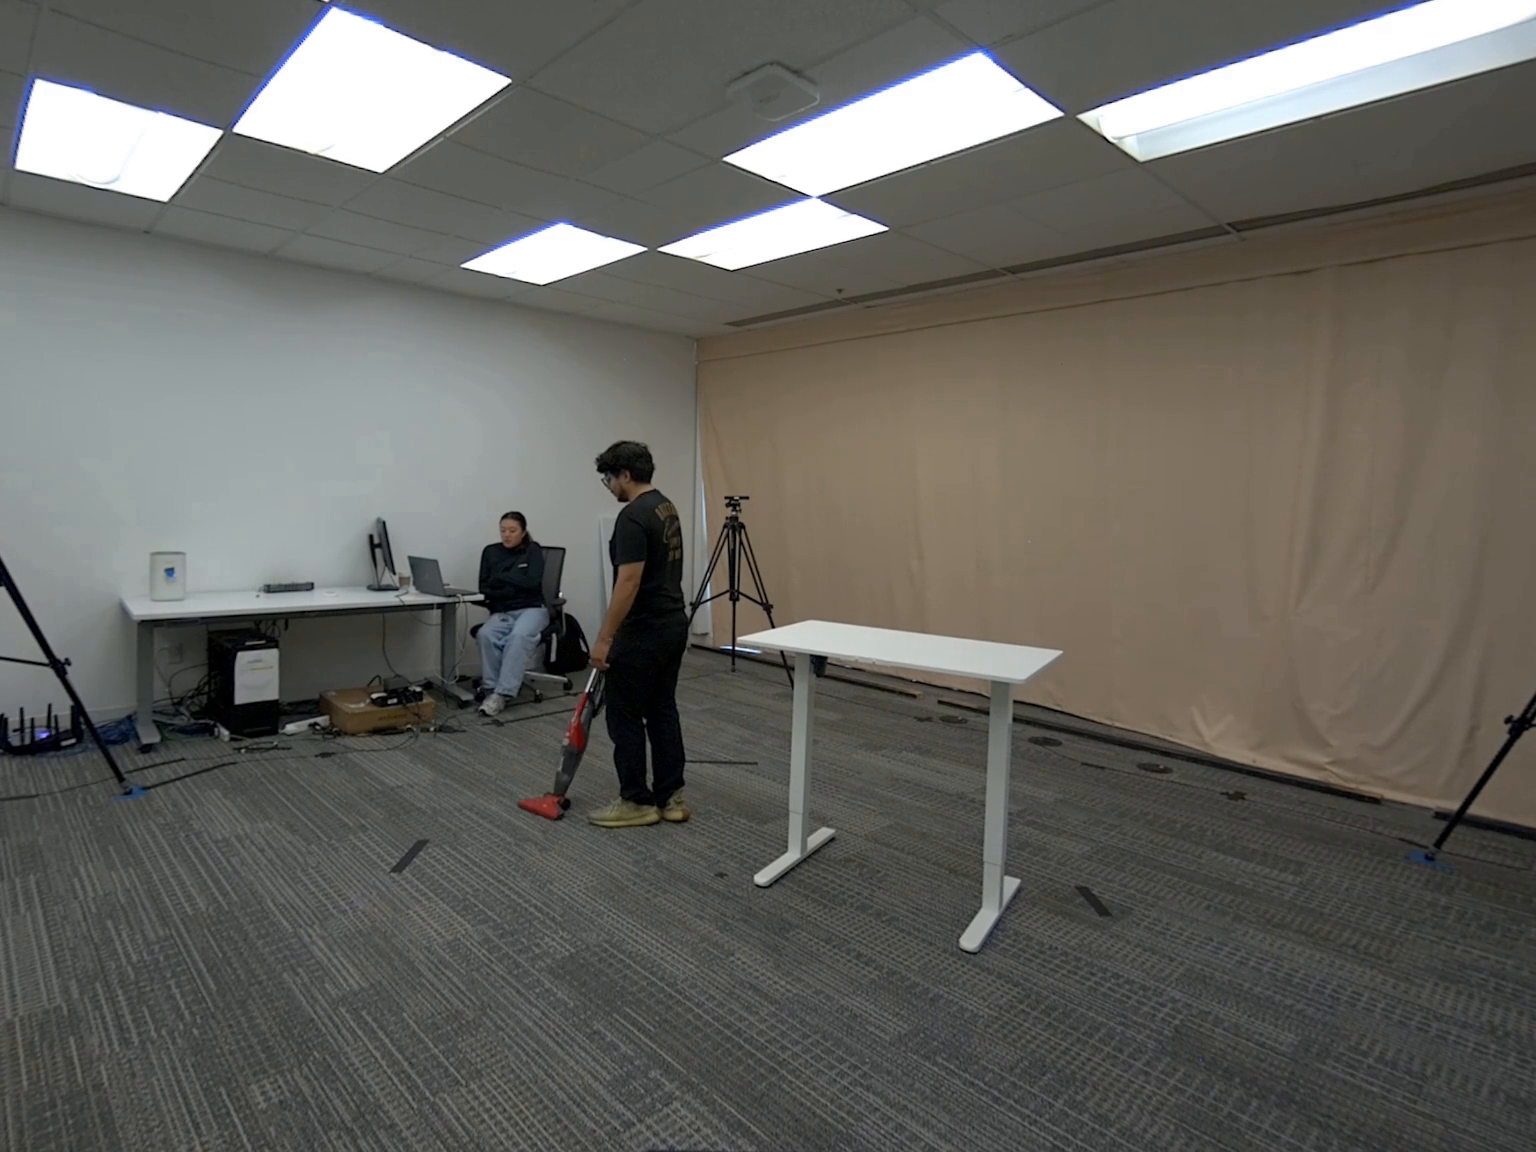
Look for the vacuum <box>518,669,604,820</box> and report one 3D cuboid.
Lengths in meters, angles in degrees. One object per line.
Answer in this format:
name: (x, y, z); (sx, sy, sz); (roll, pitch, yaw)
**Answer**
vacuum: (-0.821, 0.551, 3.894); (0.258, 1.058, 0.139); (3, -26, 35)
